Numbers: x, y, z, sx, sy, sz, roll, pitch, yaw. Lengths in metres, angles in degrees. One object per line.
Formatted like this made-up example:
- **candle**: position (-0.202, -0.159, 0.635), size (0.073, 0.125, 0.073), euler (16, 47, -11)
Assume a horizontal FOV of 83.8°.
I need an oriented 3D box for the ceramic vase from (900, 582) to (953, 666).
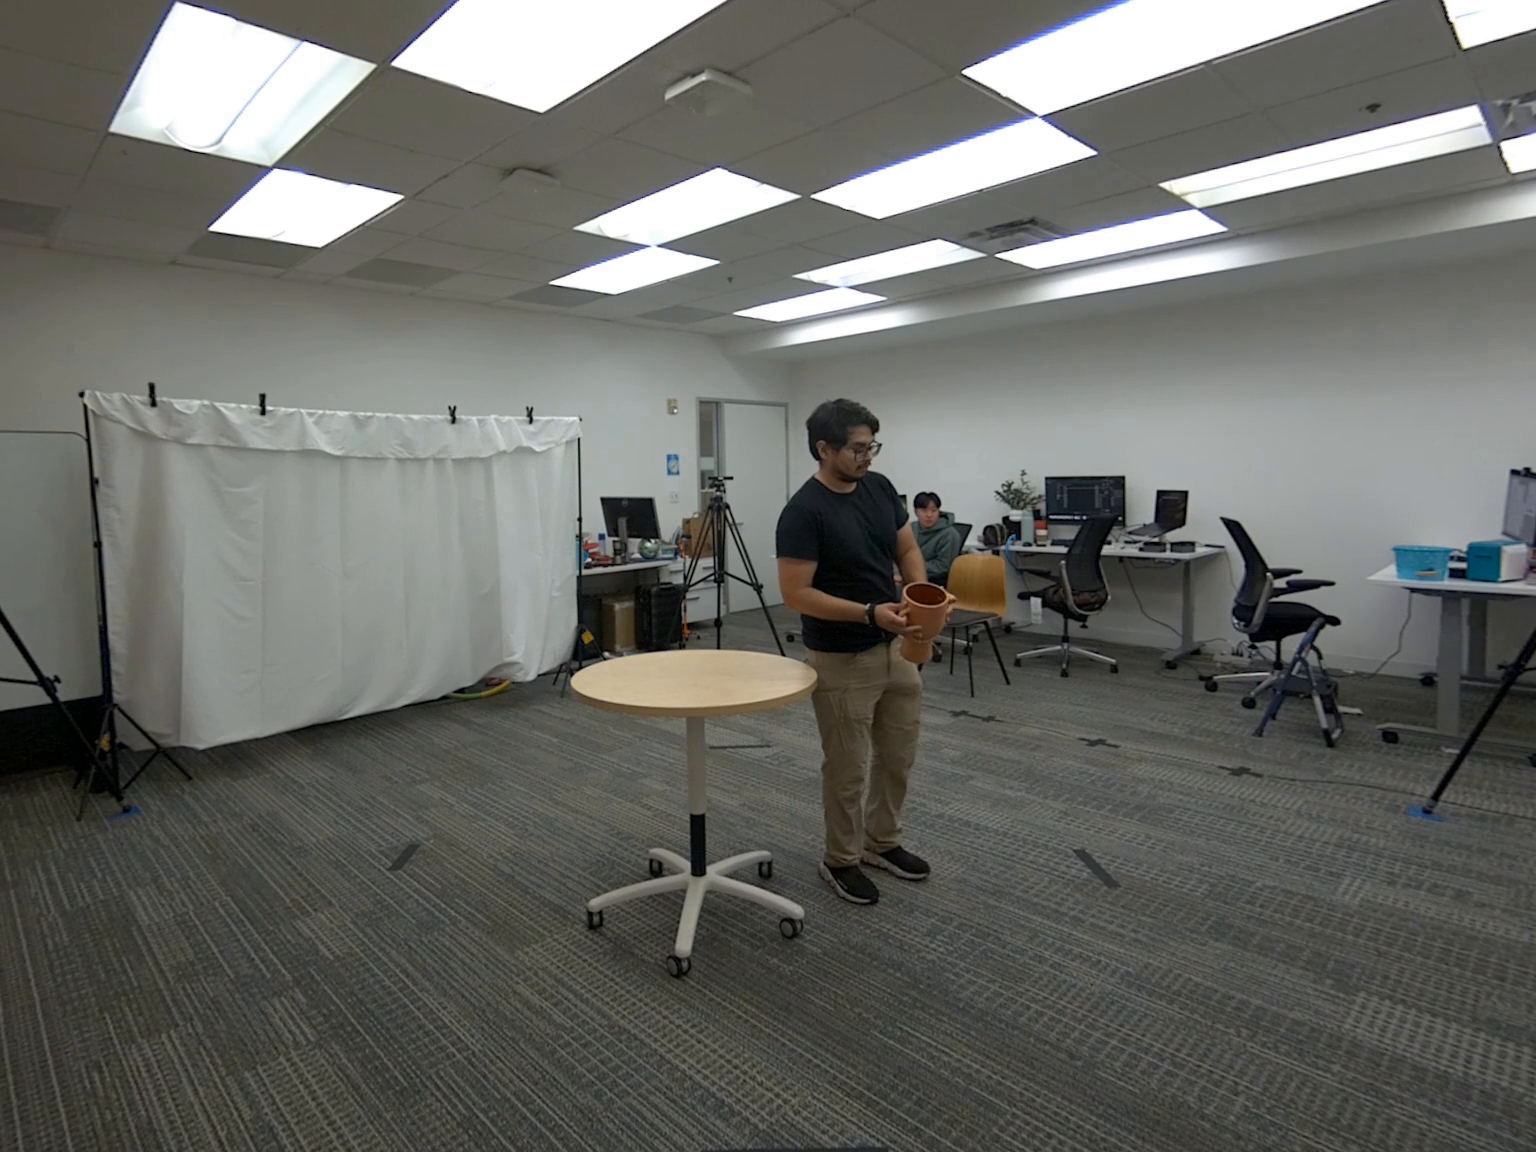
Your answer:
- **ceramic vase**: position (0.461, 0.148, 2.556), size (0.160, 0.214, 0.137), euler (2, 31, 5)
